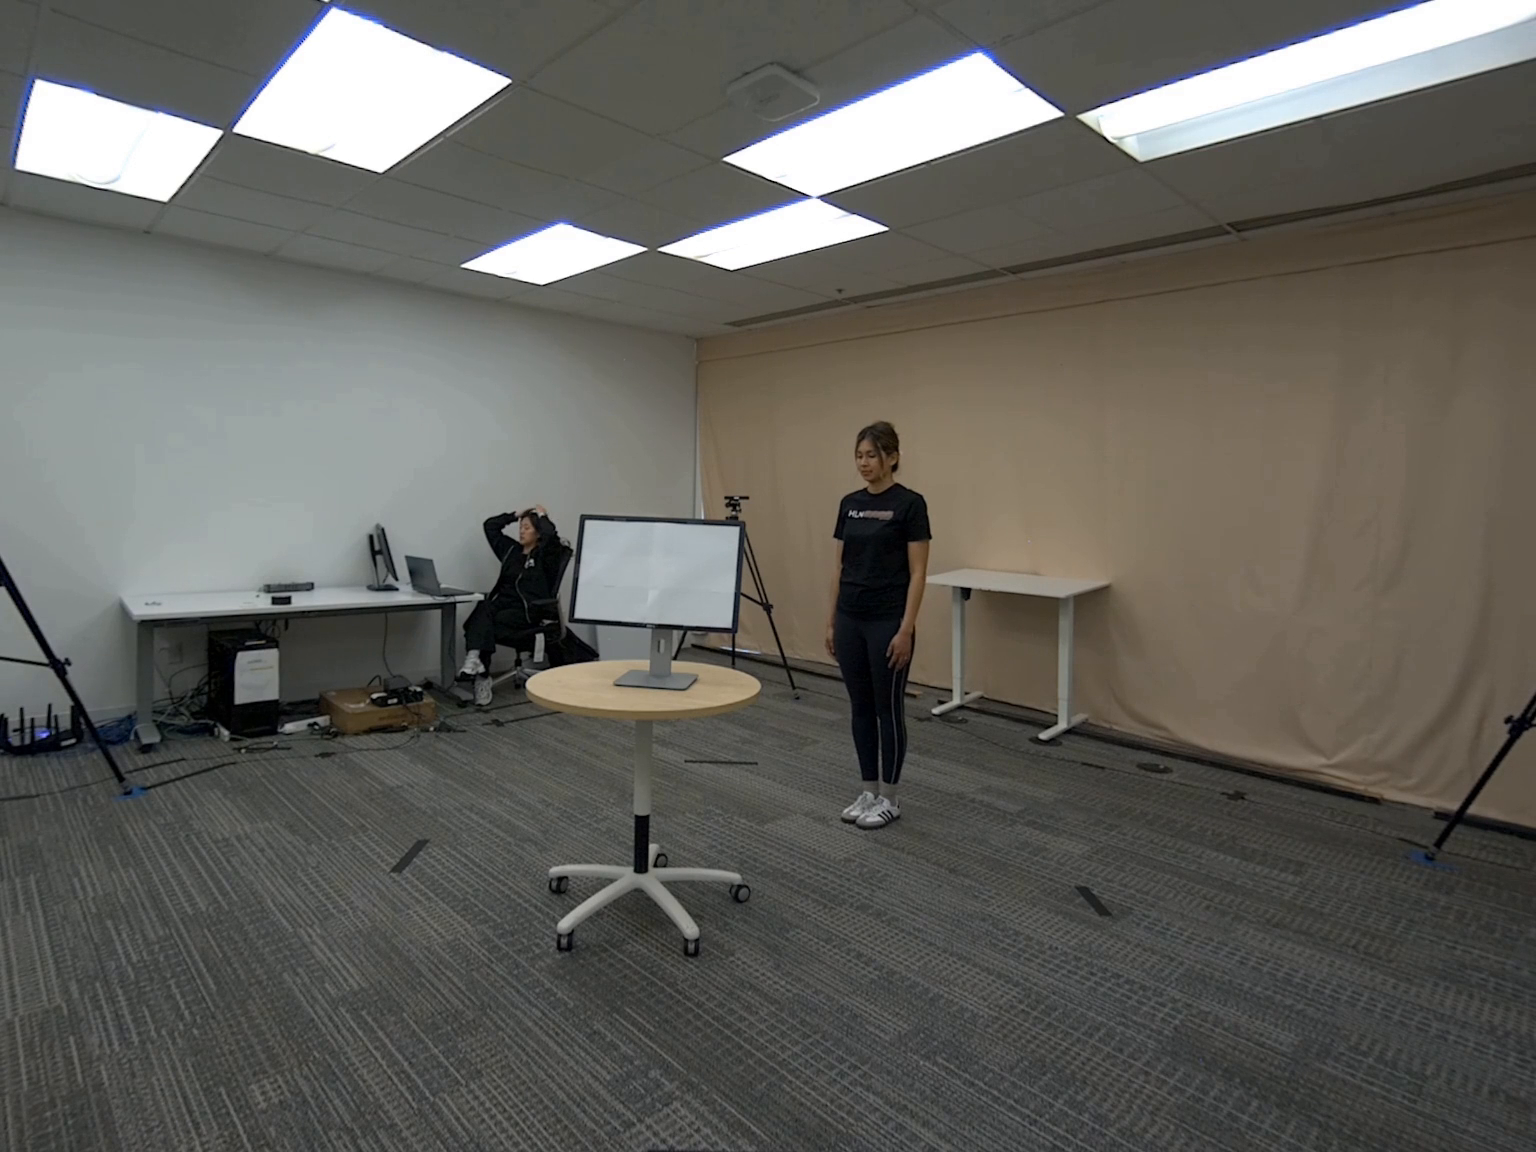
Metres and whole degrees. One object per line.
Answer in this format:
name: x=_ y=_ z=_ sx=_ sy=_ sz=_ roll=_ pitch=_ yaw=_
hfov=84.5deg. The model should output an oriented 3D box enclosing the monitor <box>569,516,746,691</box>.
monitor: x=-0.359 y=0.088 z=2.766 sx=0.543 sy=0.521 sz=0.186 roll=3 pitch=4 yaw=9
